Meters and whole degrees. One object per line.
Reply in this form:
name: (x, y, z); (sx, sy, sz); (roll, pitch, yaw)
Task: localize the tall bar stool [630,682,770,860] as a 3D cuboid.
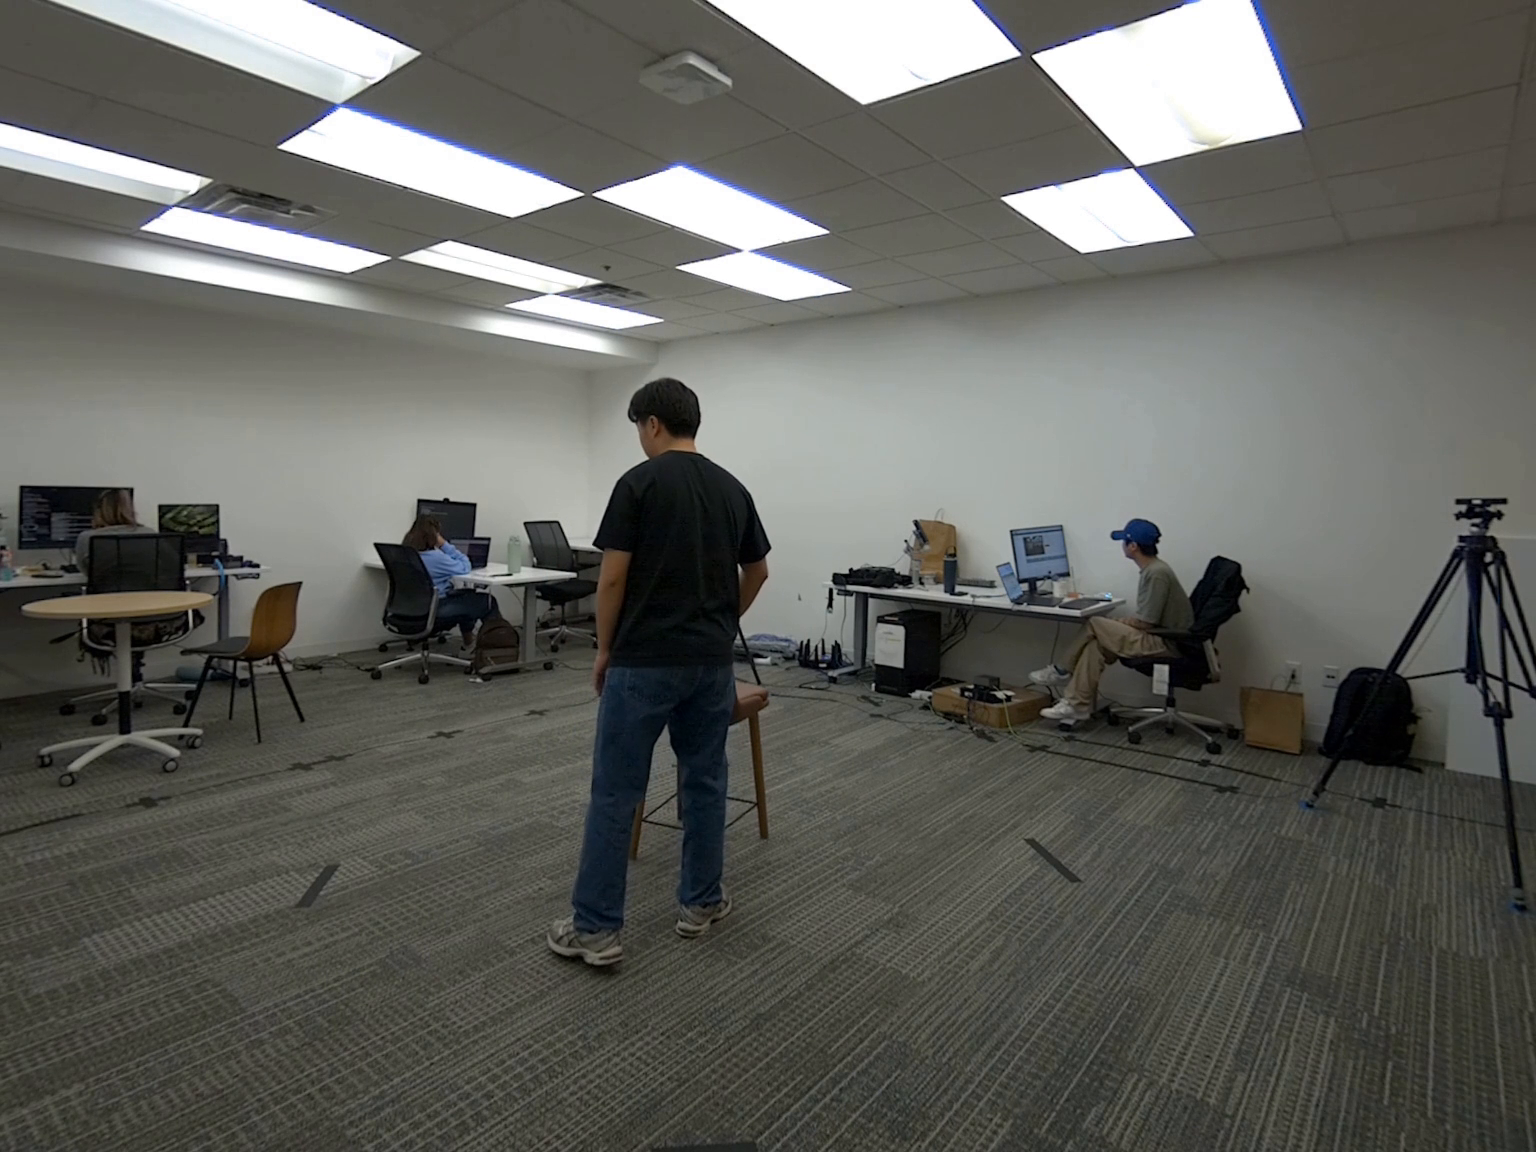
tall bar stool: (-0.276, 0.611, 3.273); (0.468, 0.885, 0.458); (2, 6, 25)
